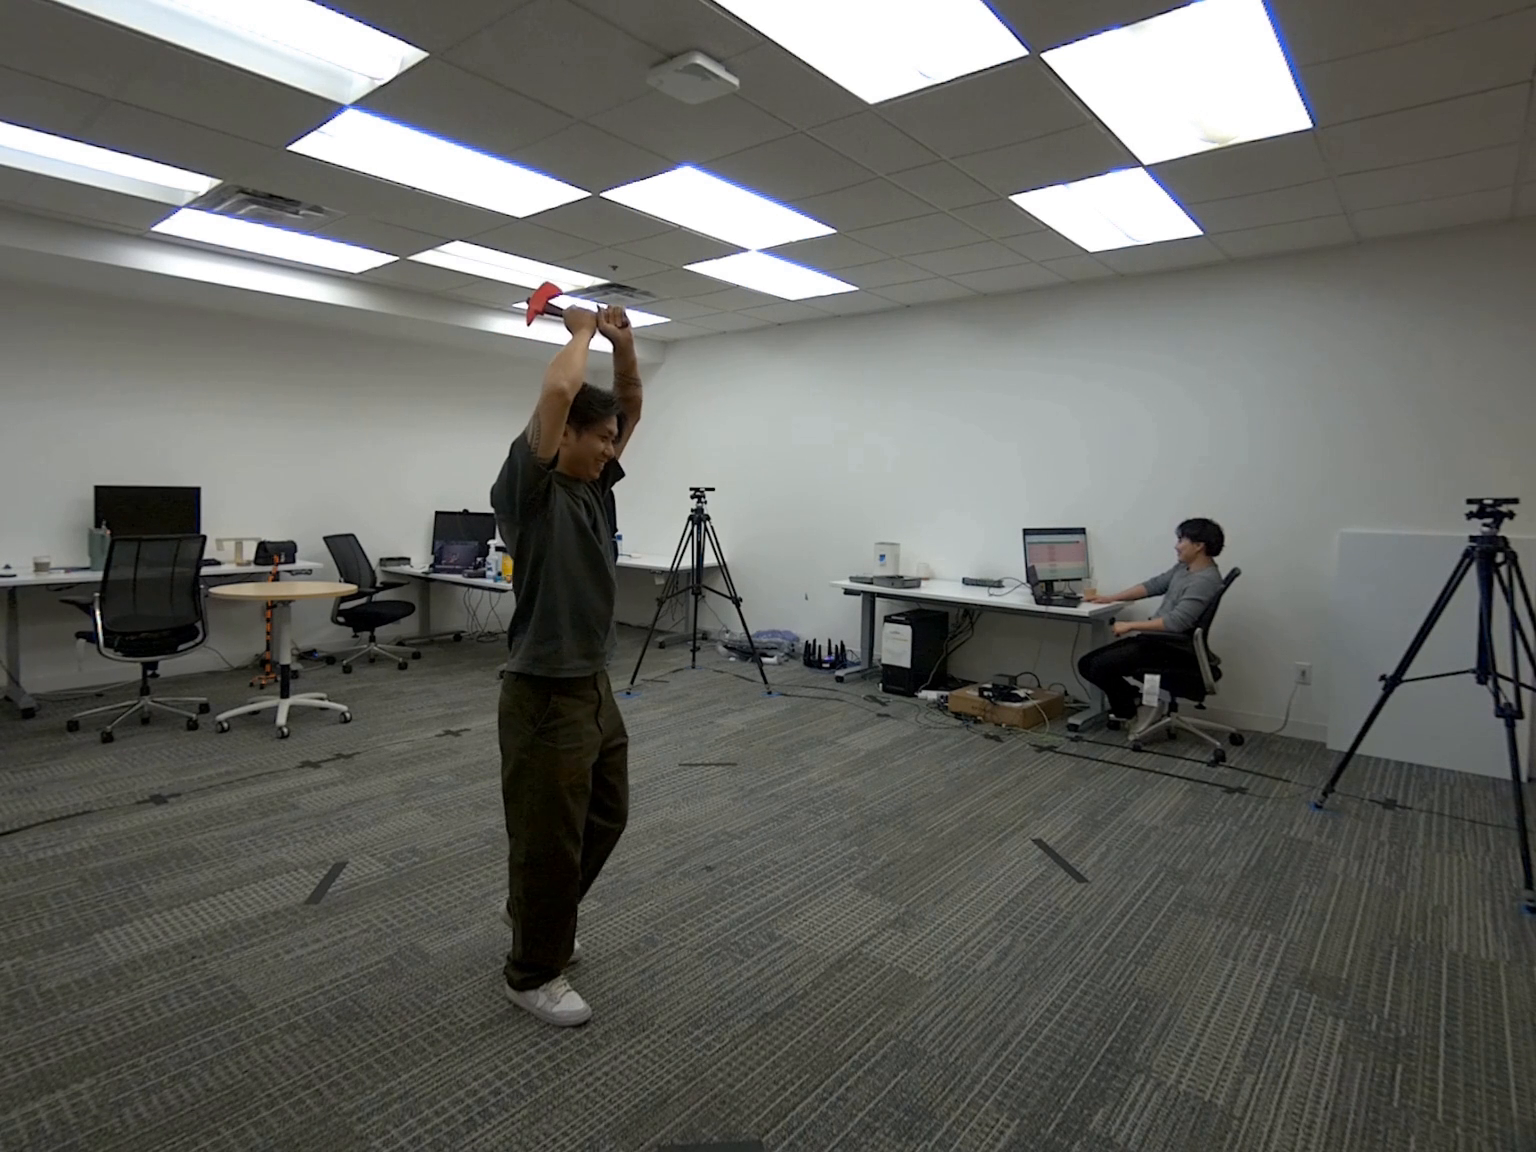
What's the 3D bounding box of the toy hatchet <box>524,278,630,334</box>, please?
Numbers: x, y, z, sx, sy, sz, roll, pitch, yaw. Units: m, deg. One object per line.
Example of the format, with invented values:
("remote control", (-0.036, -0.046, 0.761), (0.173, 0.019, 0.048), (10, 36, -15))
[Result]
("toy hatchet", (-0.502, -0.711, 2.211), (0.270, 0.133, 0.029), (-3, -15, 1))
